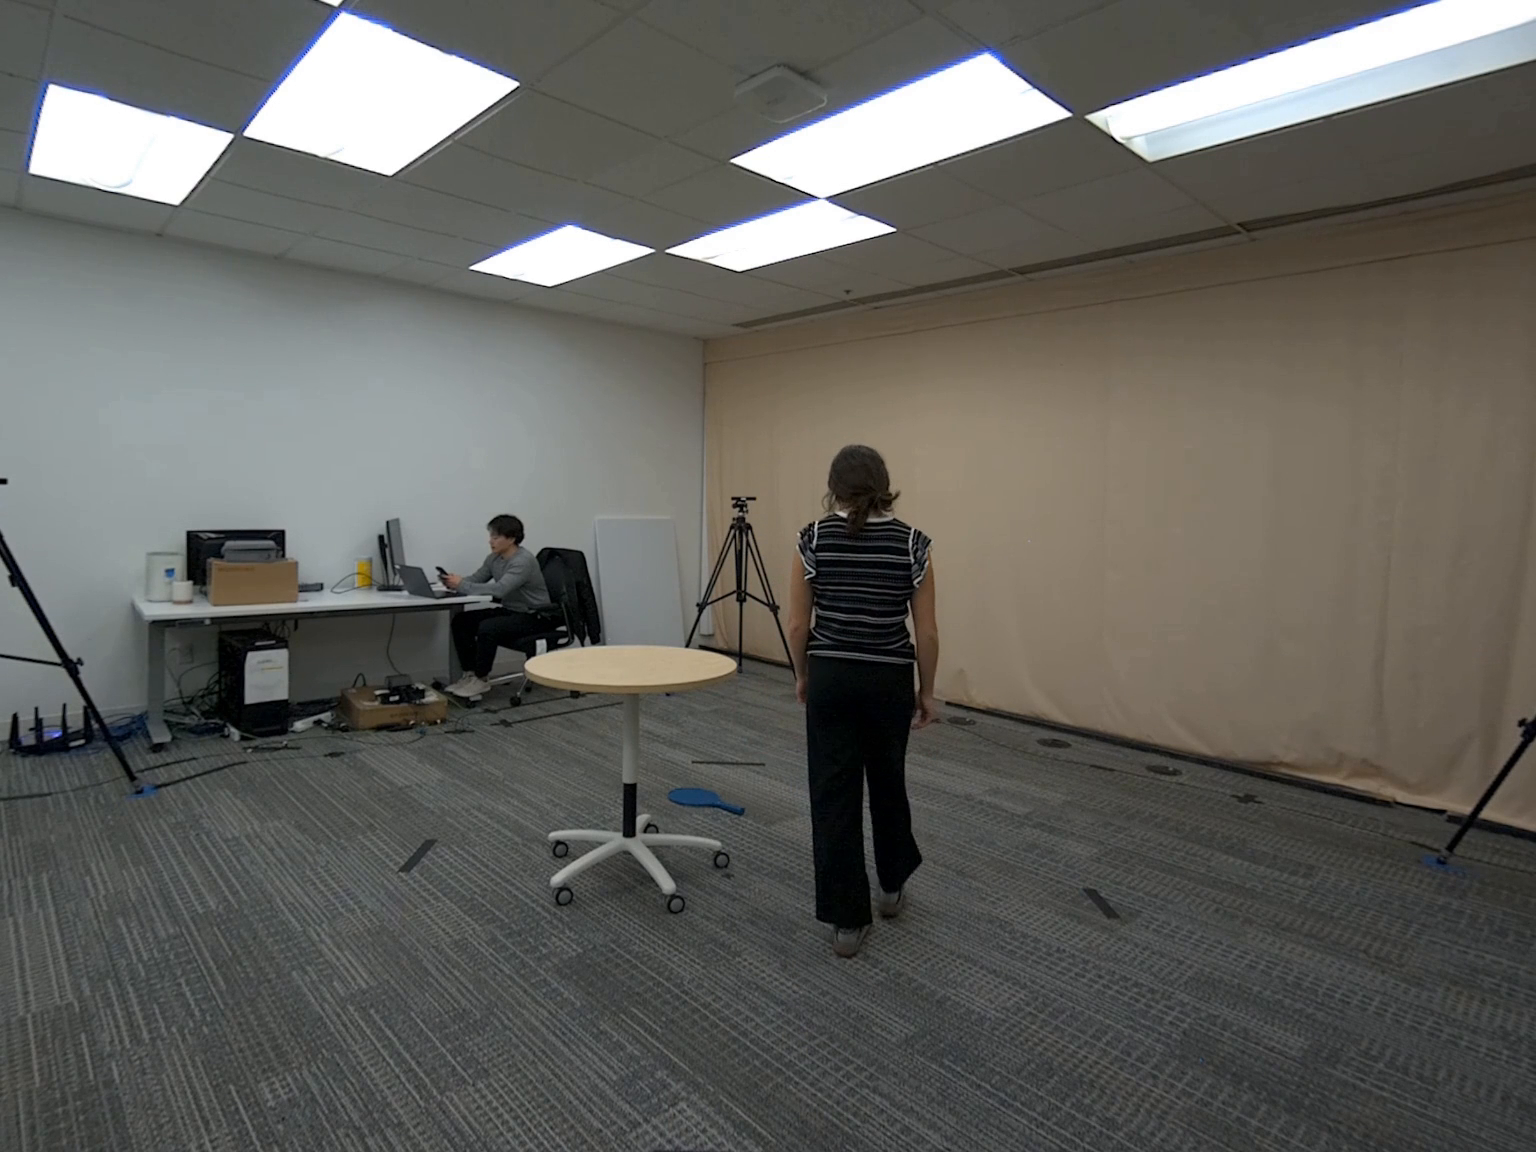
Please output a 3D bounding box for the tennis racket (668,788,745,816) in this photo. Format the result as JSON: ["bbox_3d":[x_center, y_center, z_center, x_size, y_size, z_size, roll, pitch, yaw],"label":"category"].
[{"bbox_3d":[-0.289,1.027,3.855,0.443,0.032,0.209,4,5,39],"label":"tennis racket"}]
